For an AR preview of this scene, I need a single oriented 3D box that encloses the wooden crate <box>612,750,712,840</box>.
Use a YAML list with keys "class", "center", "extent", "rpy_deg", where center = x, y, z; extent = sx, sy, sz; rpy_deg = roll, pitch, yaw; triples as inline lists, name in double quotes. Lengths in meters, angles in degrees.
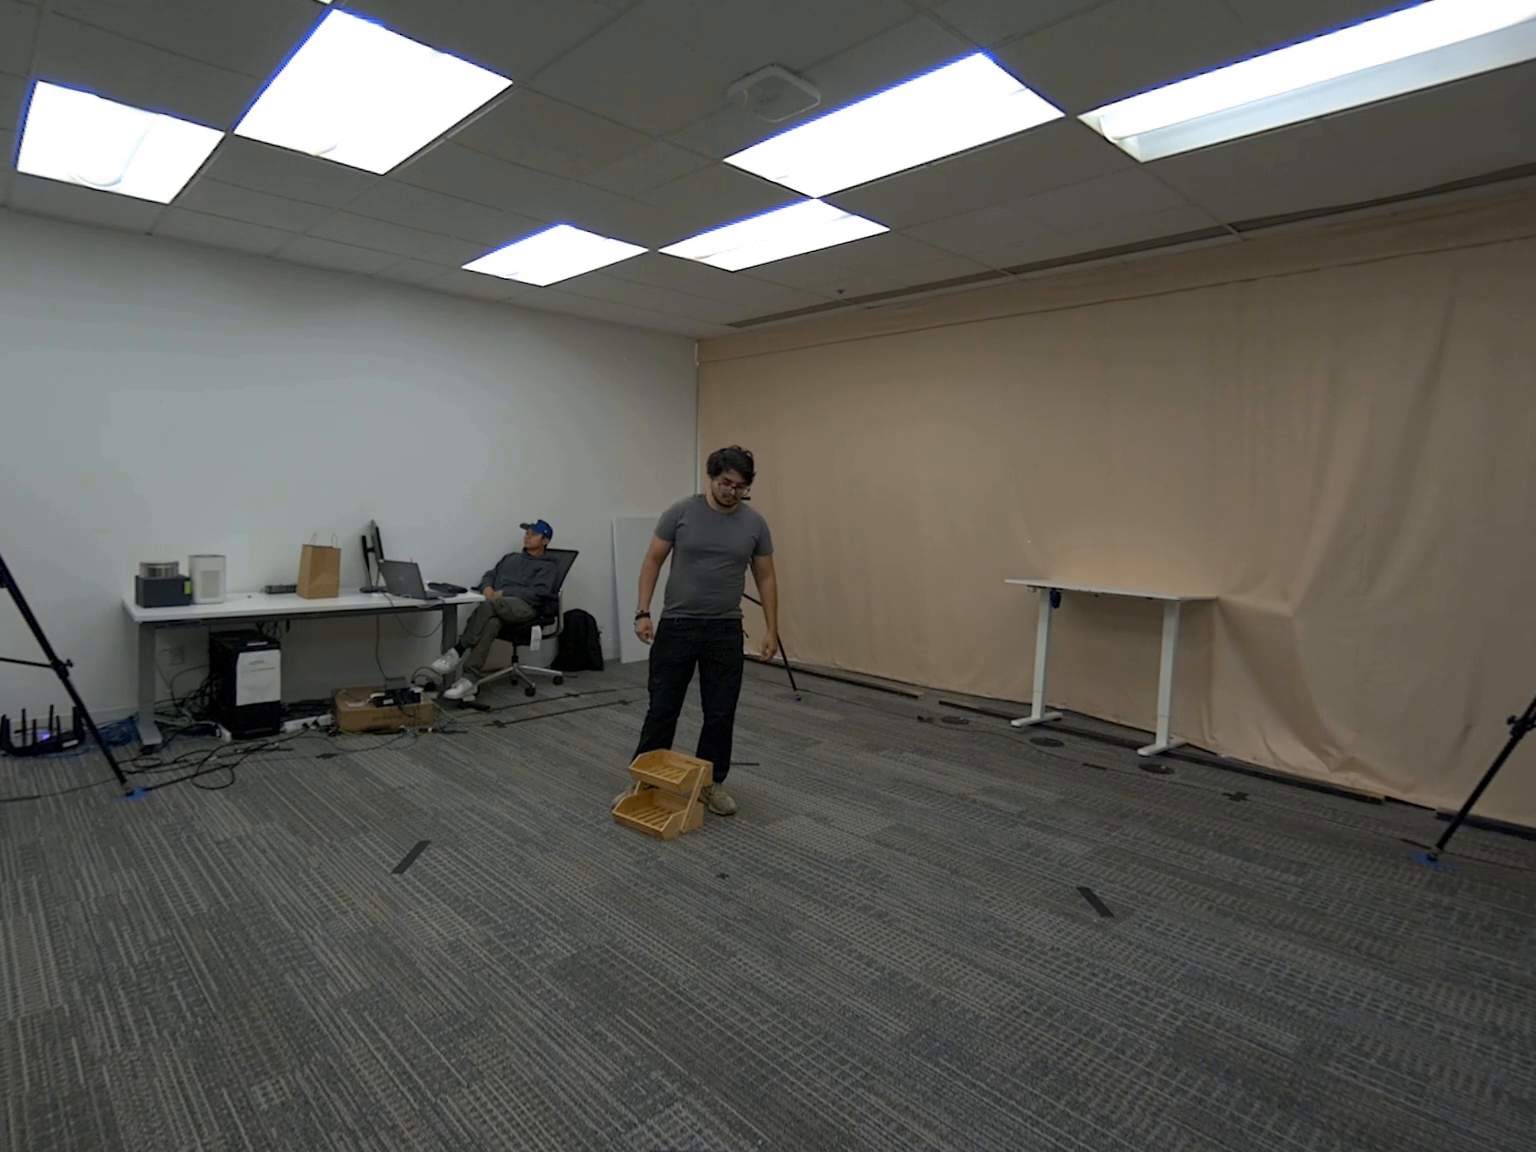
- class: "wooden crate"
  center: [-0.460, 0.926, 3.592]
  extent: [0.332, 0.273, 0.295]
  rpy_deg: [3, 3, 37]
